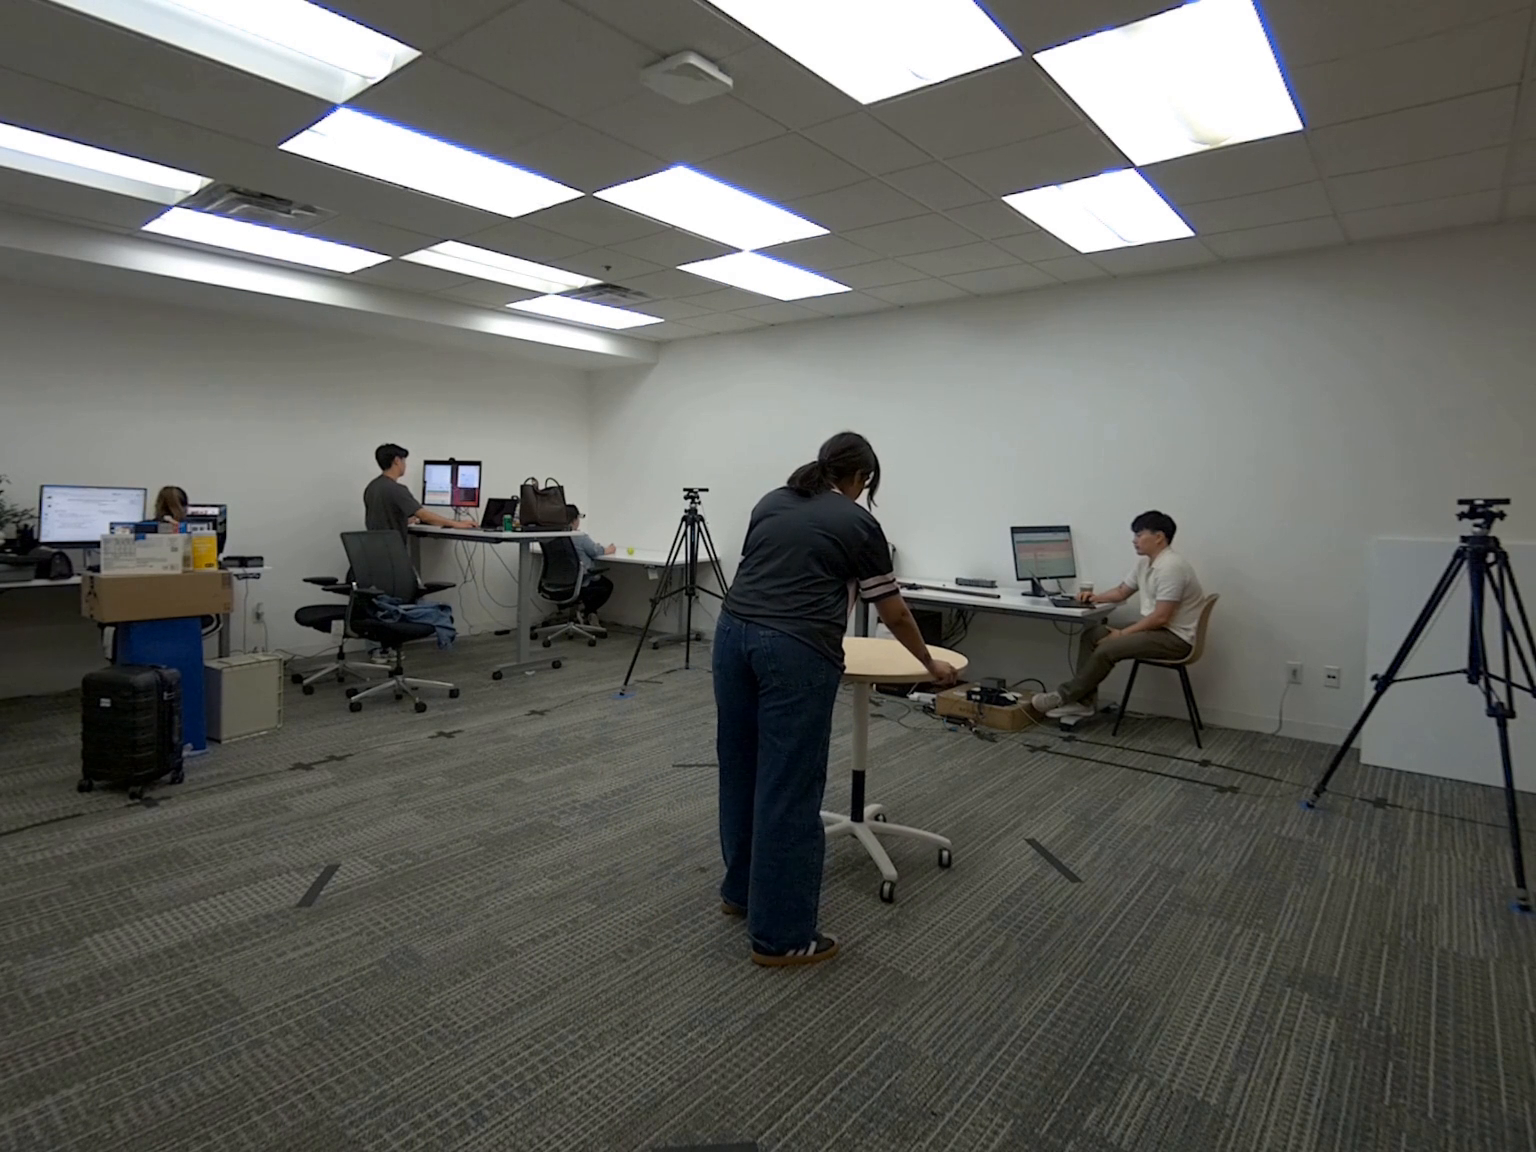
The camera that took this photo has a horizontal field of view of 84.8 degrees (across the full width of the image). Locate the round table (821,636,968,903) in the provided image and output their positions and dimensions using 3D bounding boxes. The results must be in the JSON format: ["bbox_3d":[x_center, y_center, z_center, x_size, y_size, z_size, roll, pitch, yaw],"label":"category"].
[{"bbox_3d":[0.338,0.677,3.213,0.784,0.784,0.789,2,4,-2],"label":"round table"}]
